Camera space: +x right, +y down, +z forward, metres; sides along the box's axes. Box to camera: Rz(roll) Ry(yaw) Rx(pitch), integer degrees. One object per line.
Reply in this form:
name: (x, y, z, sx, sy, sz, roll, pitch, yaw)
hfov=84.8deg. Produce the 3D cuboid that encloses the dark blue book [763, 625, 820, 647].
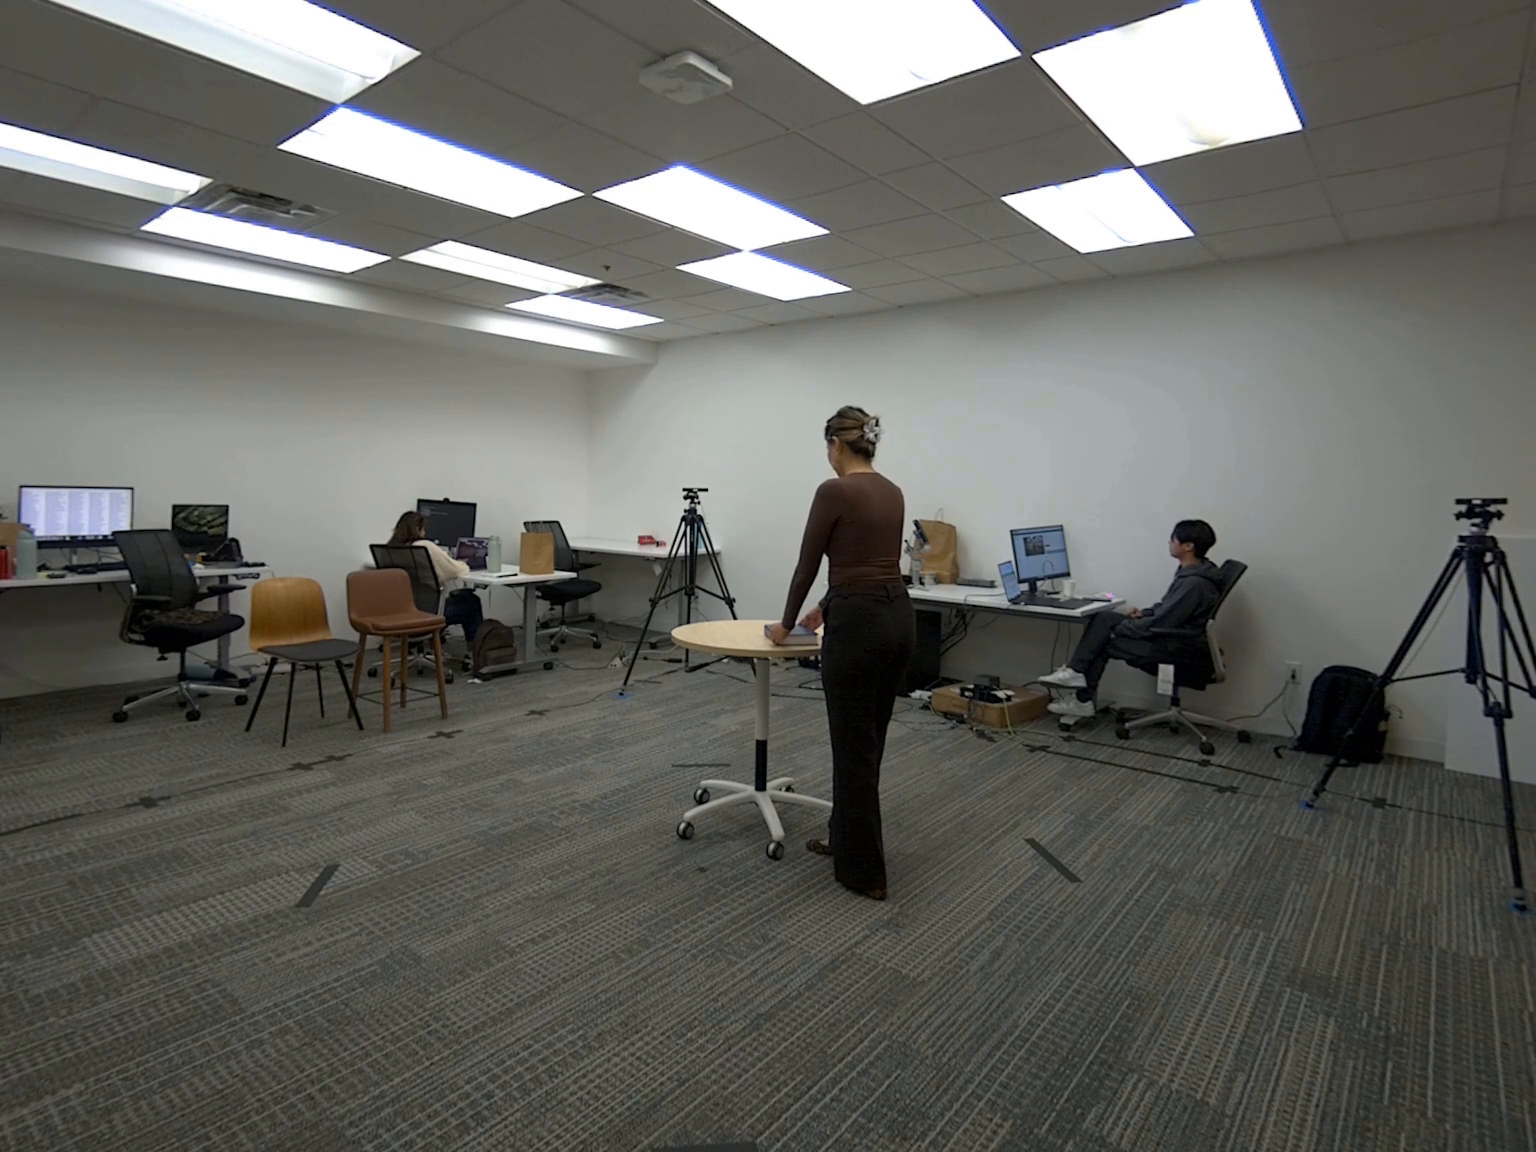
dark blue book: (0.076, 0.235, 3.369, 0.161, 0.045, 0.249, 0, 7, -11)
